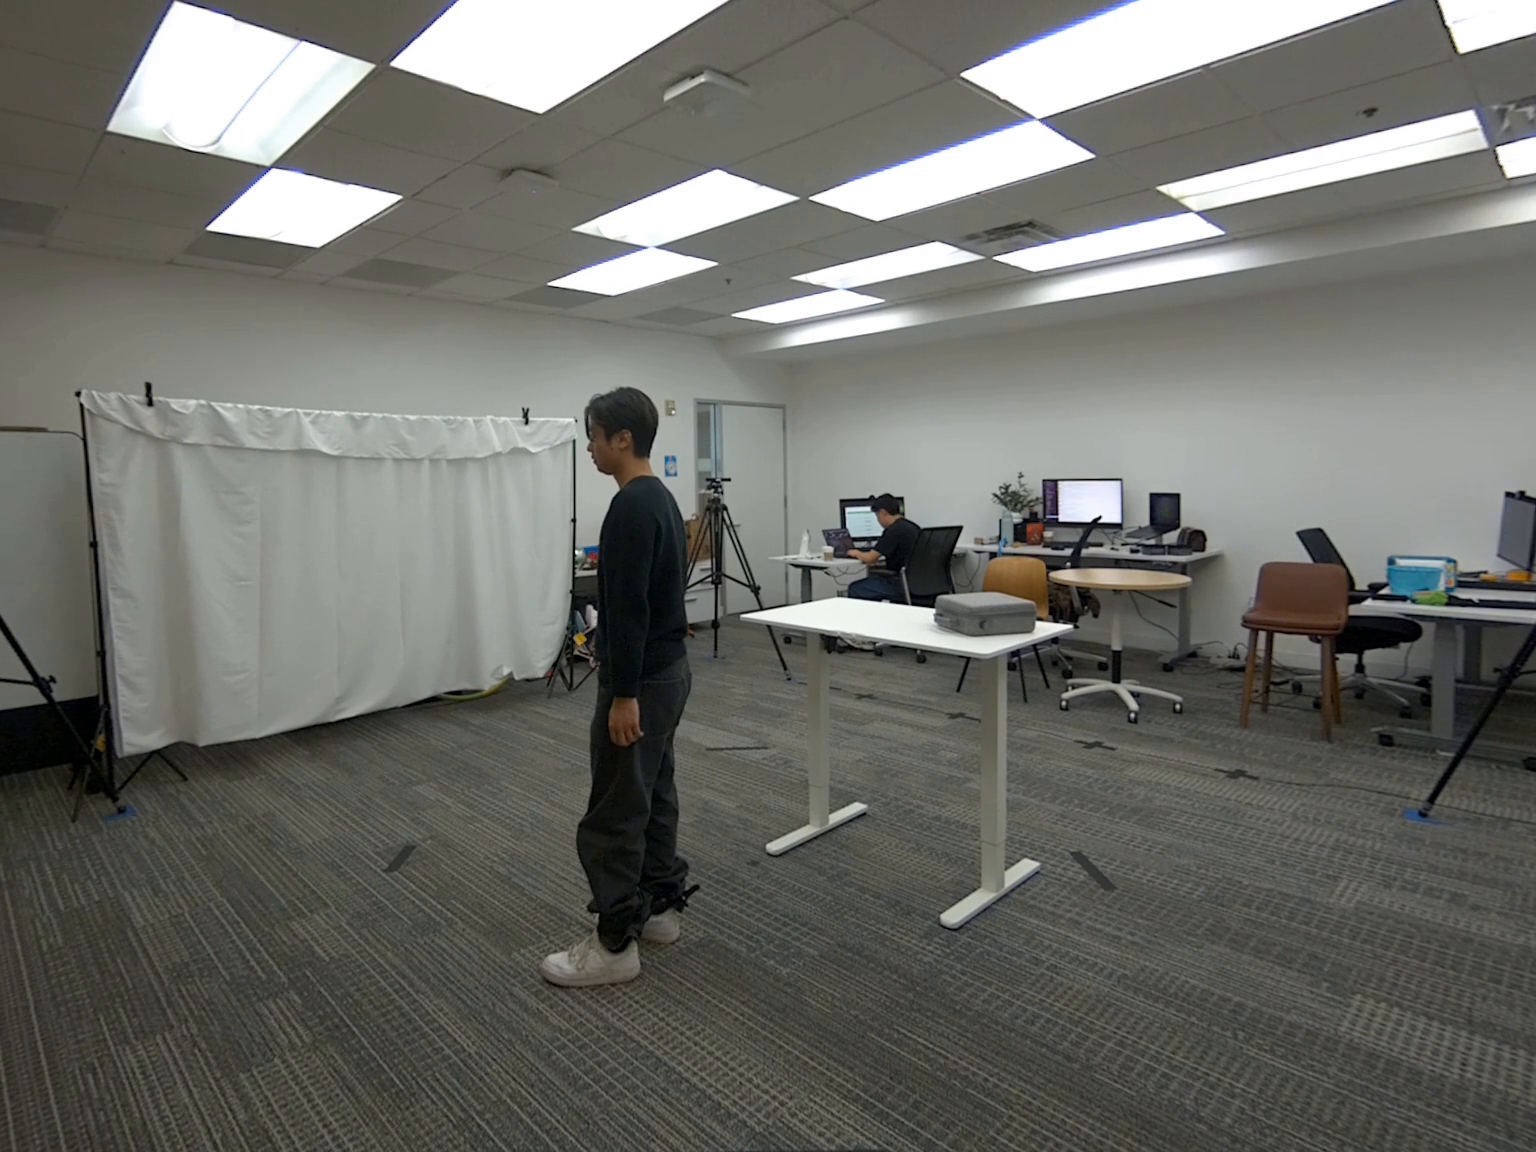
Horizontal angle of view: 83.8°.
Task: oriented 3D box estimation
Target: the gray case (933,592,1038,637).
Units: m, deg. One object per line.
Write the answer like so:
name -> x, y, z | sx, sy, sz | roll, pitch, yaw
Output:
gray case -> 0.718, 0.121, 2.854 | 0.257, 0.104, 0.261 | -2, 6, -13
